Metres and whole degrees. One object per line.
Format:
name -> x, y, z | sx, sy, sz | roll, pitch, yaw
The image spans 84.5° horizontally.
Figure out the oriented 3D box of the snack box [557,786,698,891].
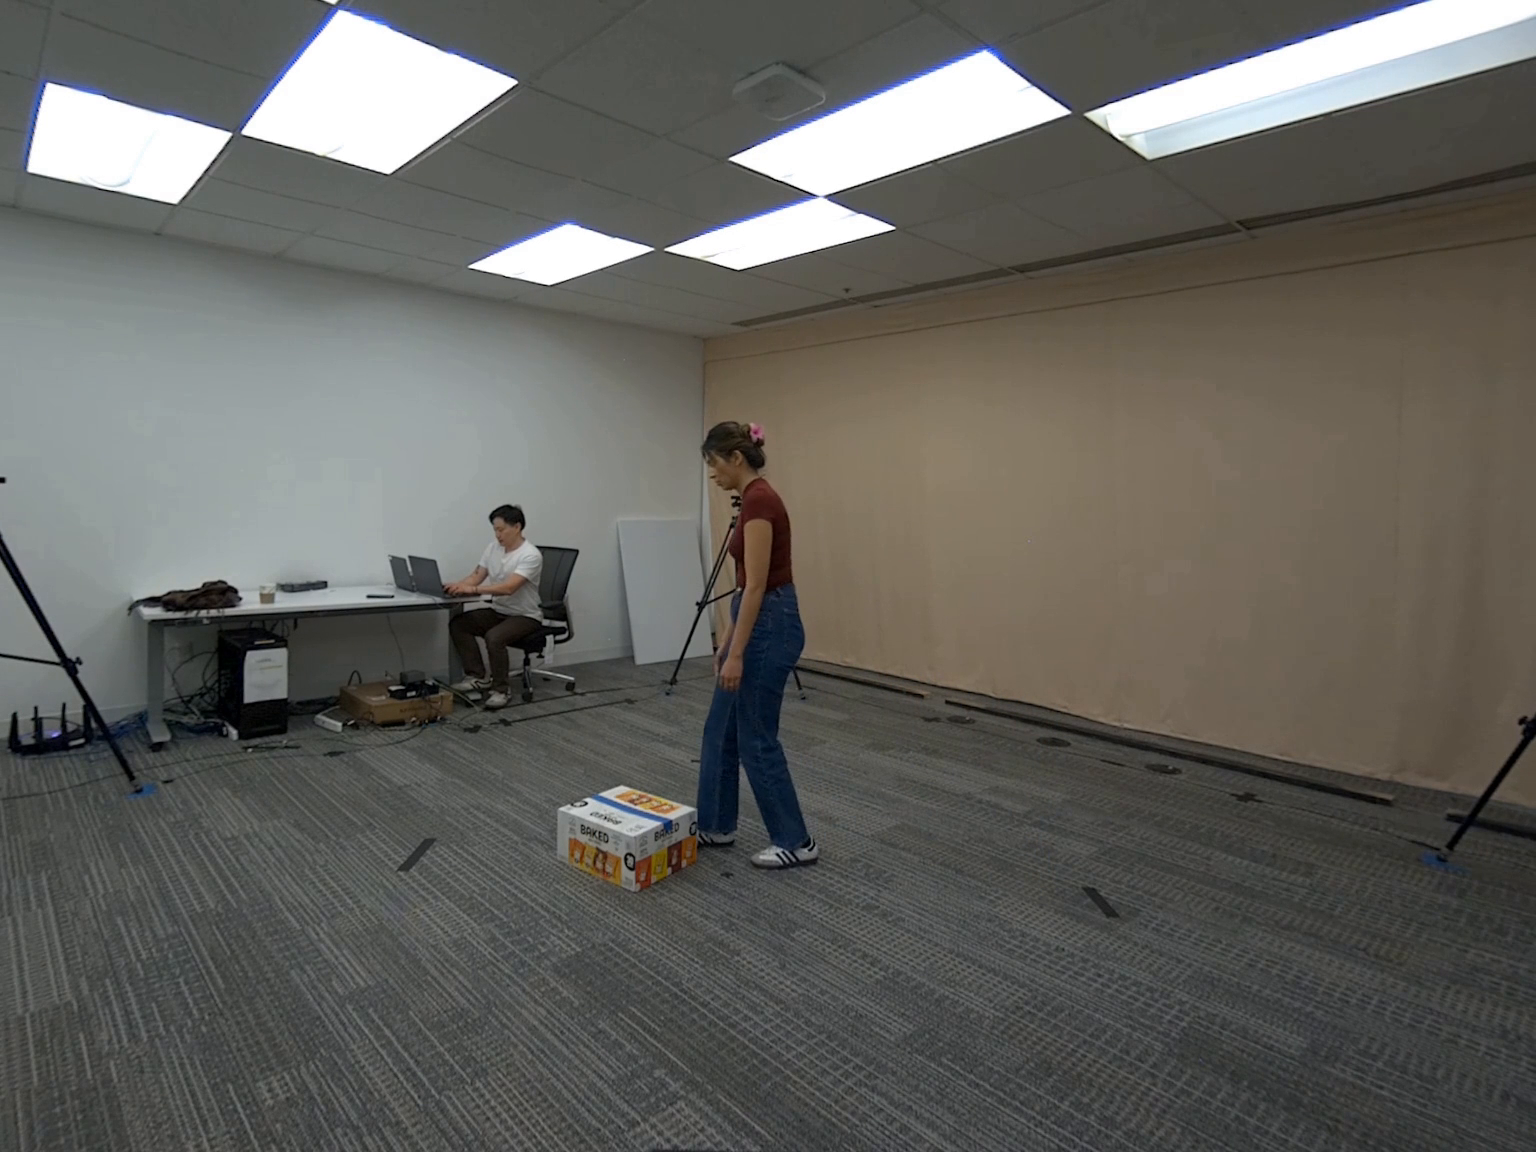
snack box -> -0.540, 0.984, 3.190 | 0.415, 0.205, 0.333 | 5, 5, 36
